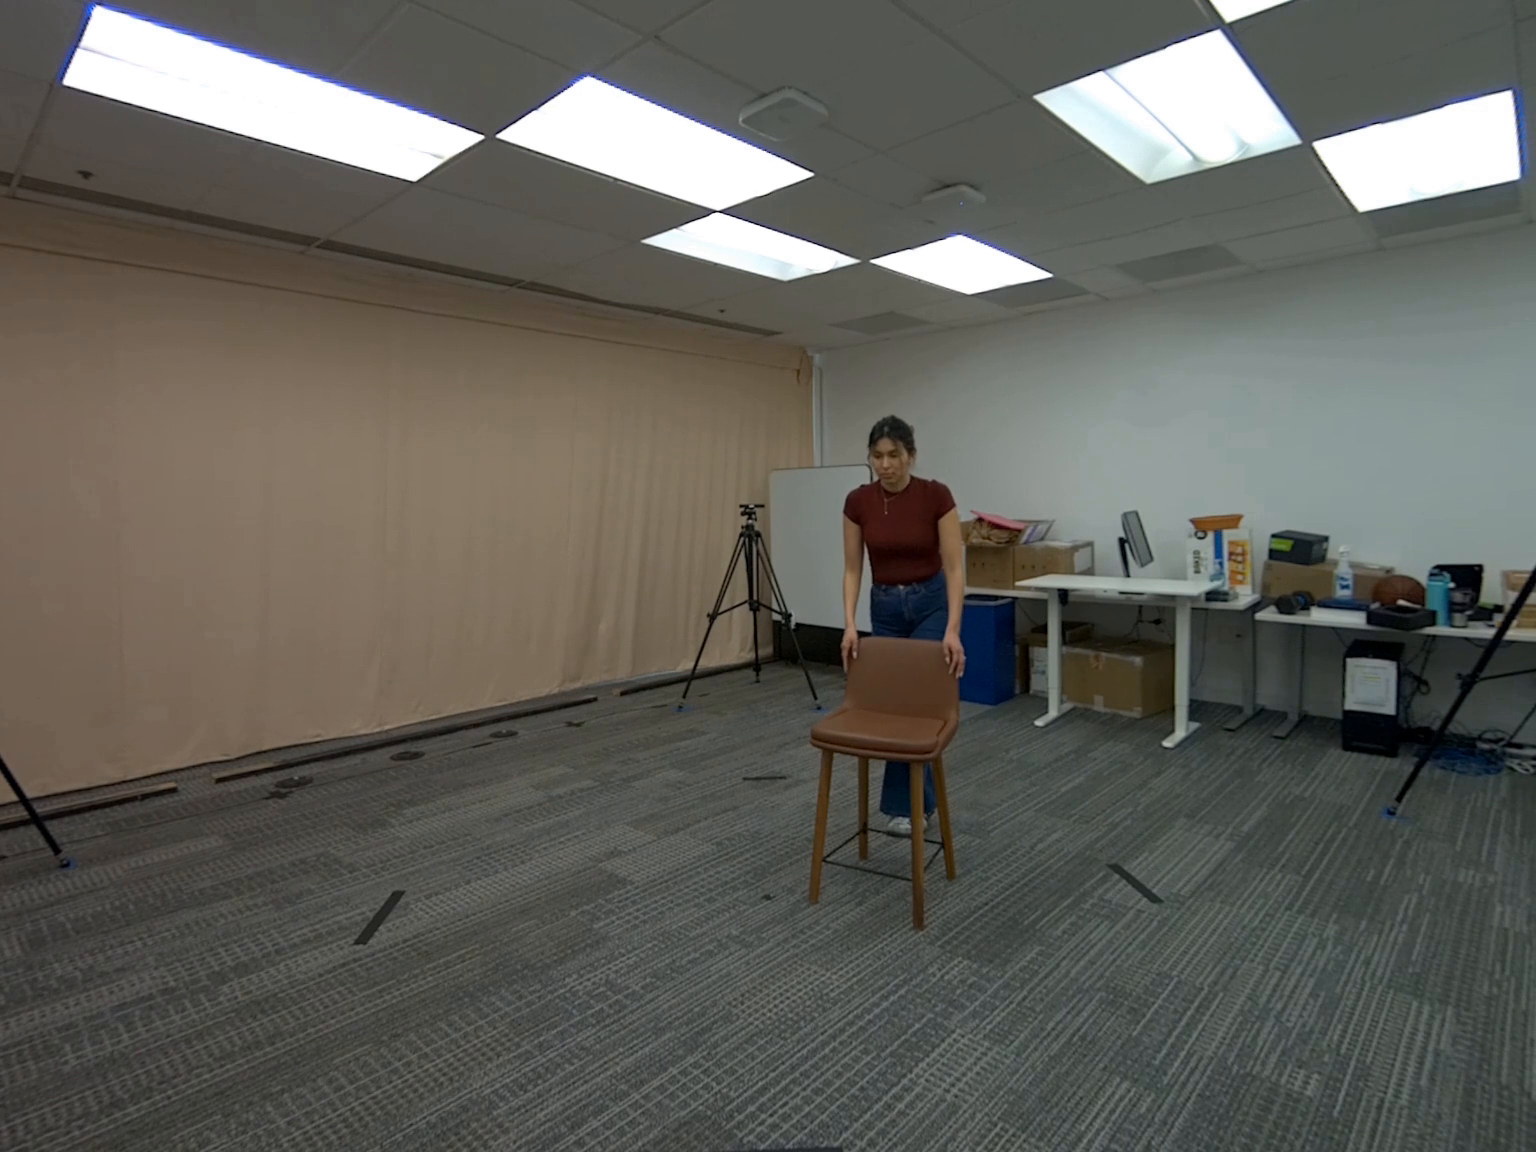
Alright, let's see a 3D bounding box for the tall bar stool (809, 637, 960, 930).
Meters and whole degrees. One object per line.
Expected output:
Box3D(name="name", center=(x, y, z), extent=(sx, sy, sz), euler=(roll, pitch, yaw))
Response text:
Box3D(name="tall bar stool", center=(0.427, 0.690, 3.008), extent=(0.470, 0.889, 0.454), euler=(2, 2, 31))
